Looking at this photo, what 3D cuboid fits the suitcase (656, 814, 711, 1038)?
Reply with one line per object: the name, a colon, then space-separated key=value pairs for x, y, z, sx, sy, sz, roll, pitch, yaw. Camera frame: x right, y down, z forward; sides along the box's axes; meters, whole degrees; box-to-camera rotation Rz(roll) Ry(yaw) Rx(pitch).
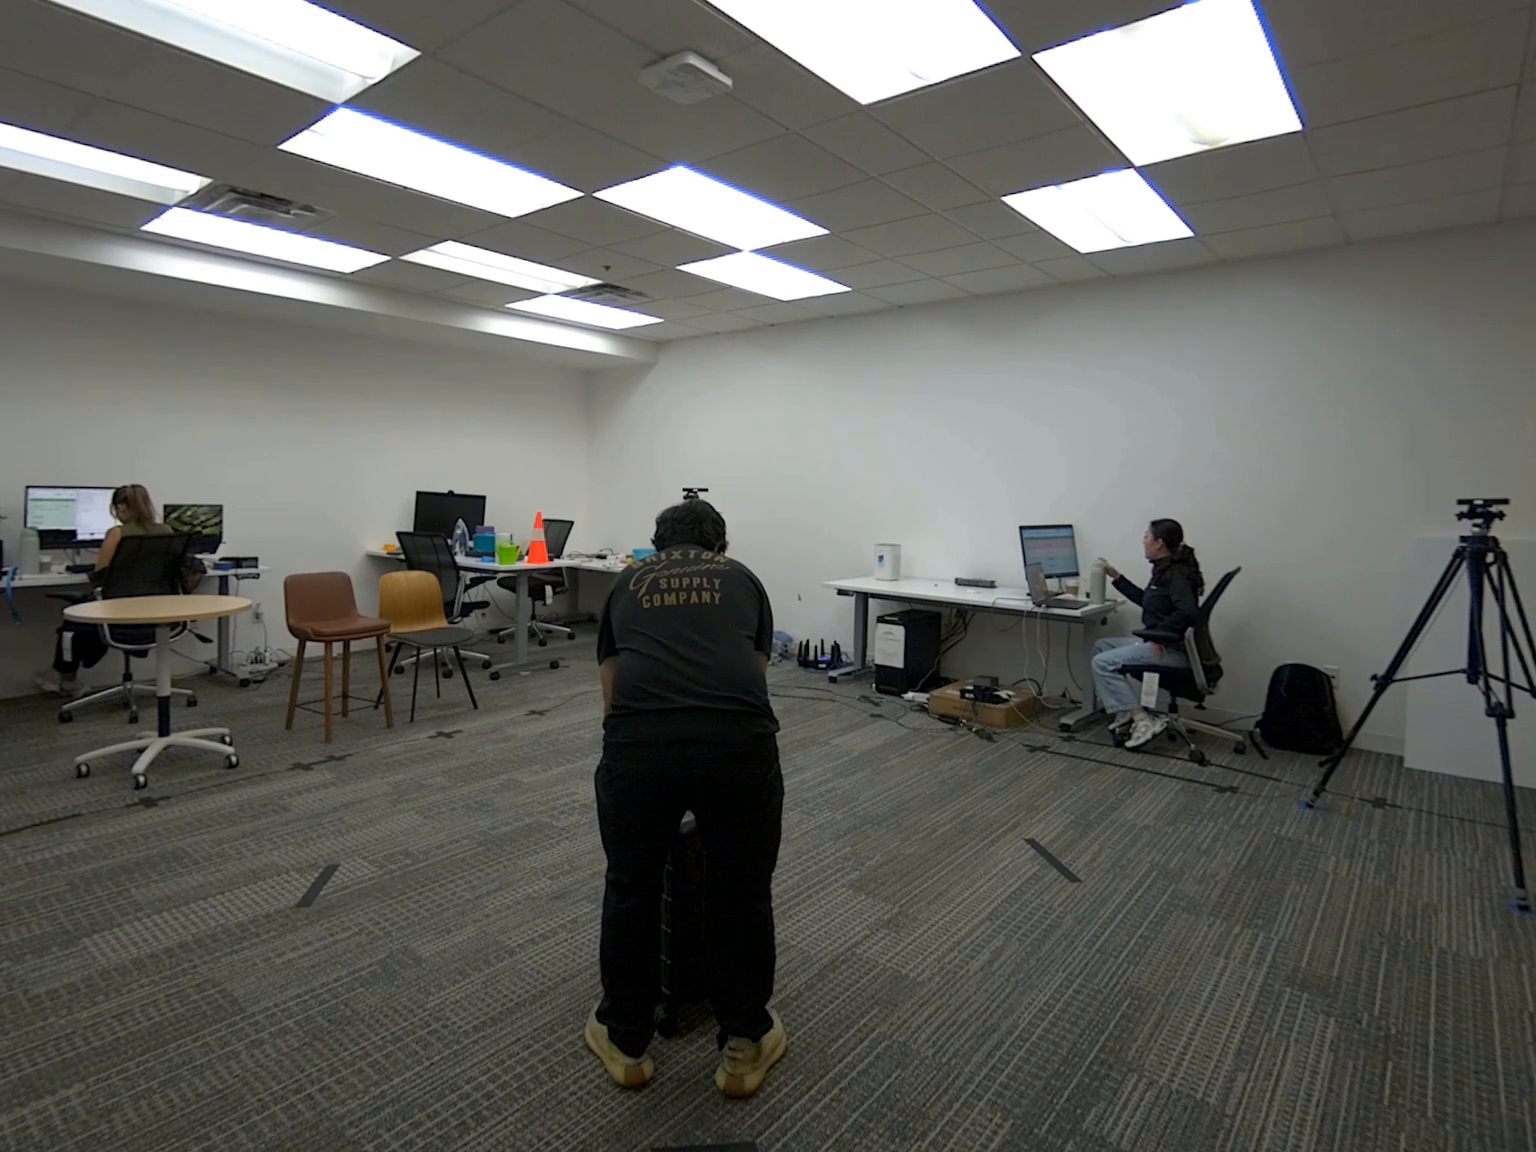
suitcase: x=-0.254 y=0.865 z=2.344 sx=0.241 sy=0.548 sz=0.388 roll=0 pitch=3 yaw=-39
